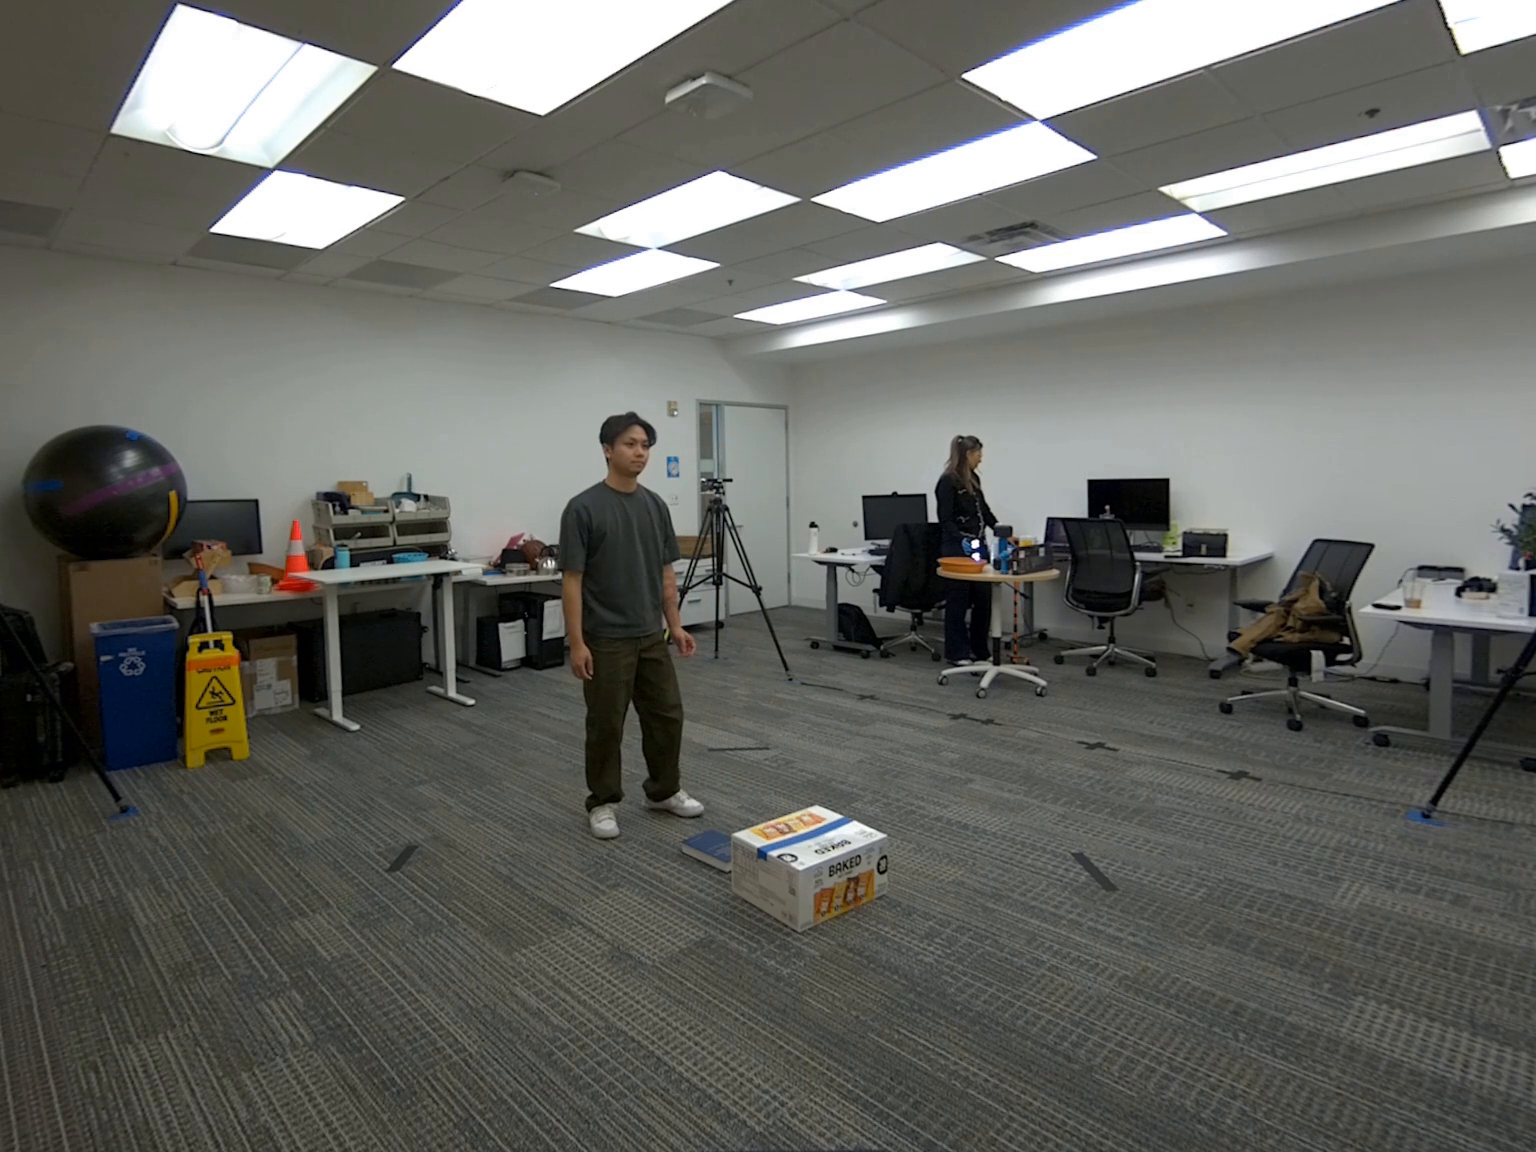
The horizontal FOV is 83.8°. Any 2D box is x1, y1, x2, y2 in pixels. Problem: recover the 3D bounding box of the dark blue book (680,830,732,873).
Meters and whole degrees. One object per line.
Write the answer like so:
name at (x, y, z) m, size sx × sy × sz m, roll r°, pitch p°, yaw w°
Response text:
dark blue book at (-0.178, 1.015, 3.170) m, size 0.253 × 0.045 × 0.159 m, roll 6°, pitch 9°, yaw 44°
